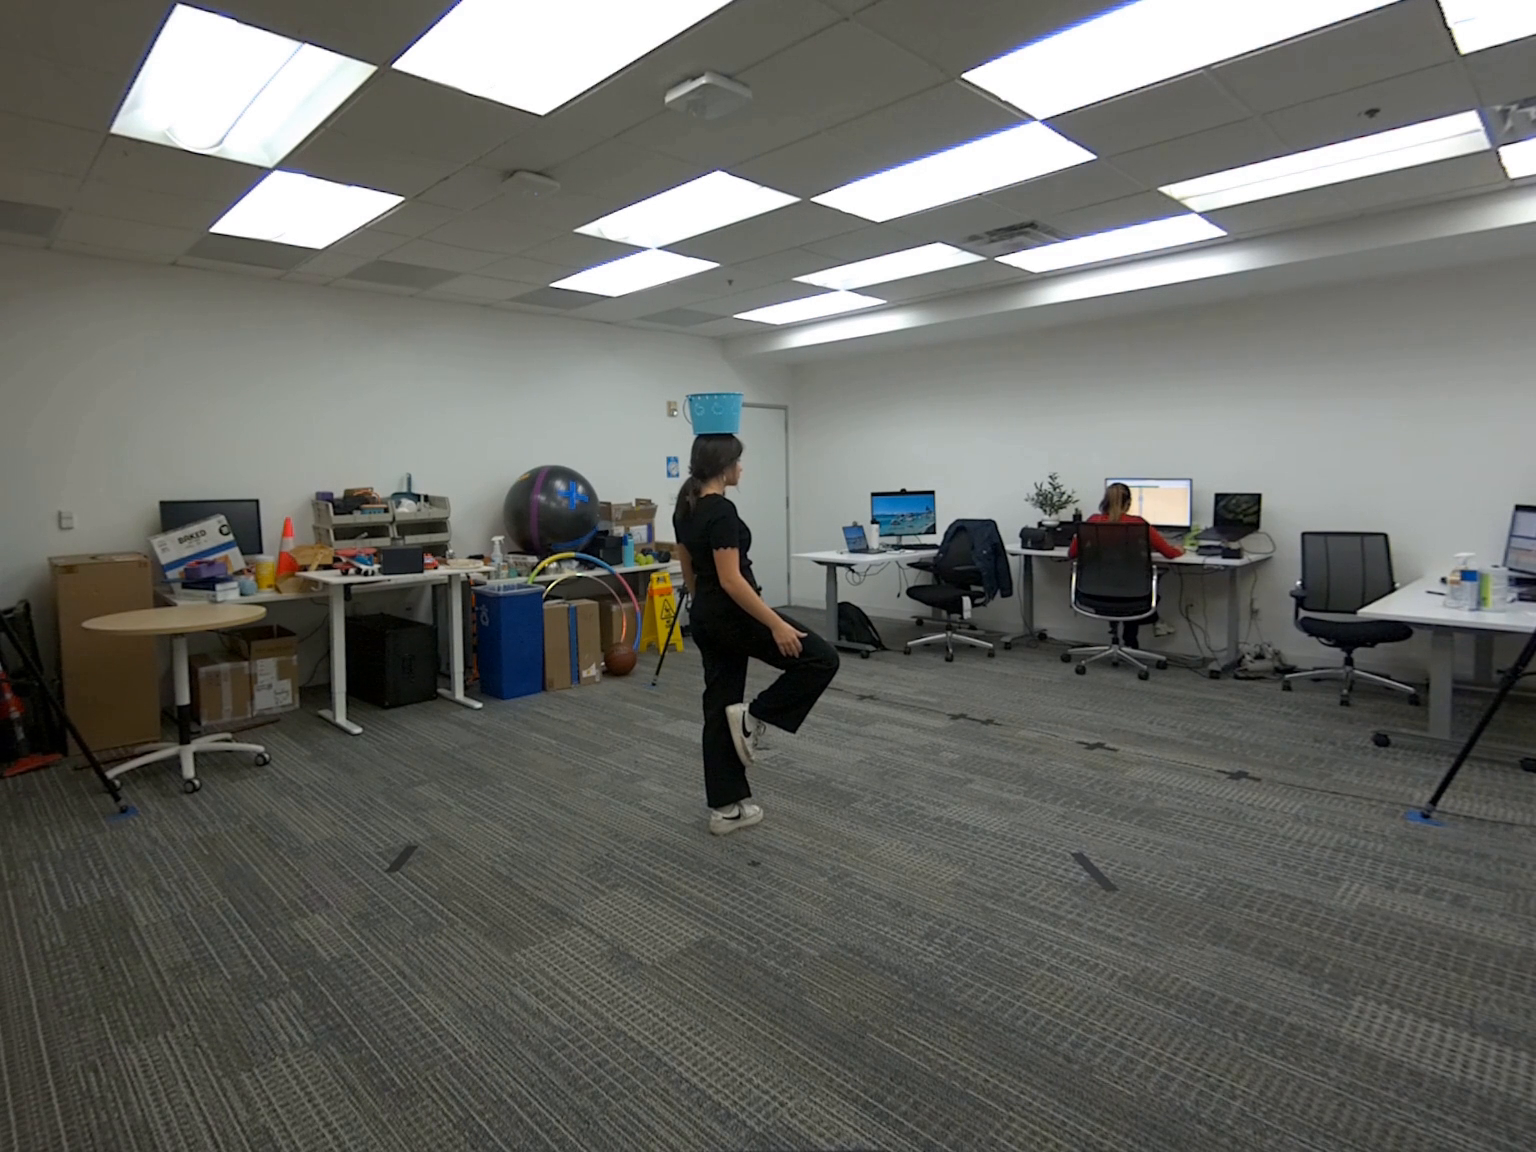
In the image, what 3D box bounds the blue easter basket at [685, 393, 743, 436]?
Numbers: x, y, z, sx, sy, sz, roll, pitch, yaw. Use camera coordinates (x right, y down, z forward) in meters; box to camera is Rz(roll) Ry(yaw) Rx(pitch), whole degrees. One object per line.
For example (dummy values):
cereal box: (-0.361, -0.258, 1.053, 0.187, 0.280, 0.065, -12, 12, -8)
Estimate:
blue easter basket: (-0.217, -0.639, 3.367, 0.243, 0.155, 0.245, -2, 6, -2)
